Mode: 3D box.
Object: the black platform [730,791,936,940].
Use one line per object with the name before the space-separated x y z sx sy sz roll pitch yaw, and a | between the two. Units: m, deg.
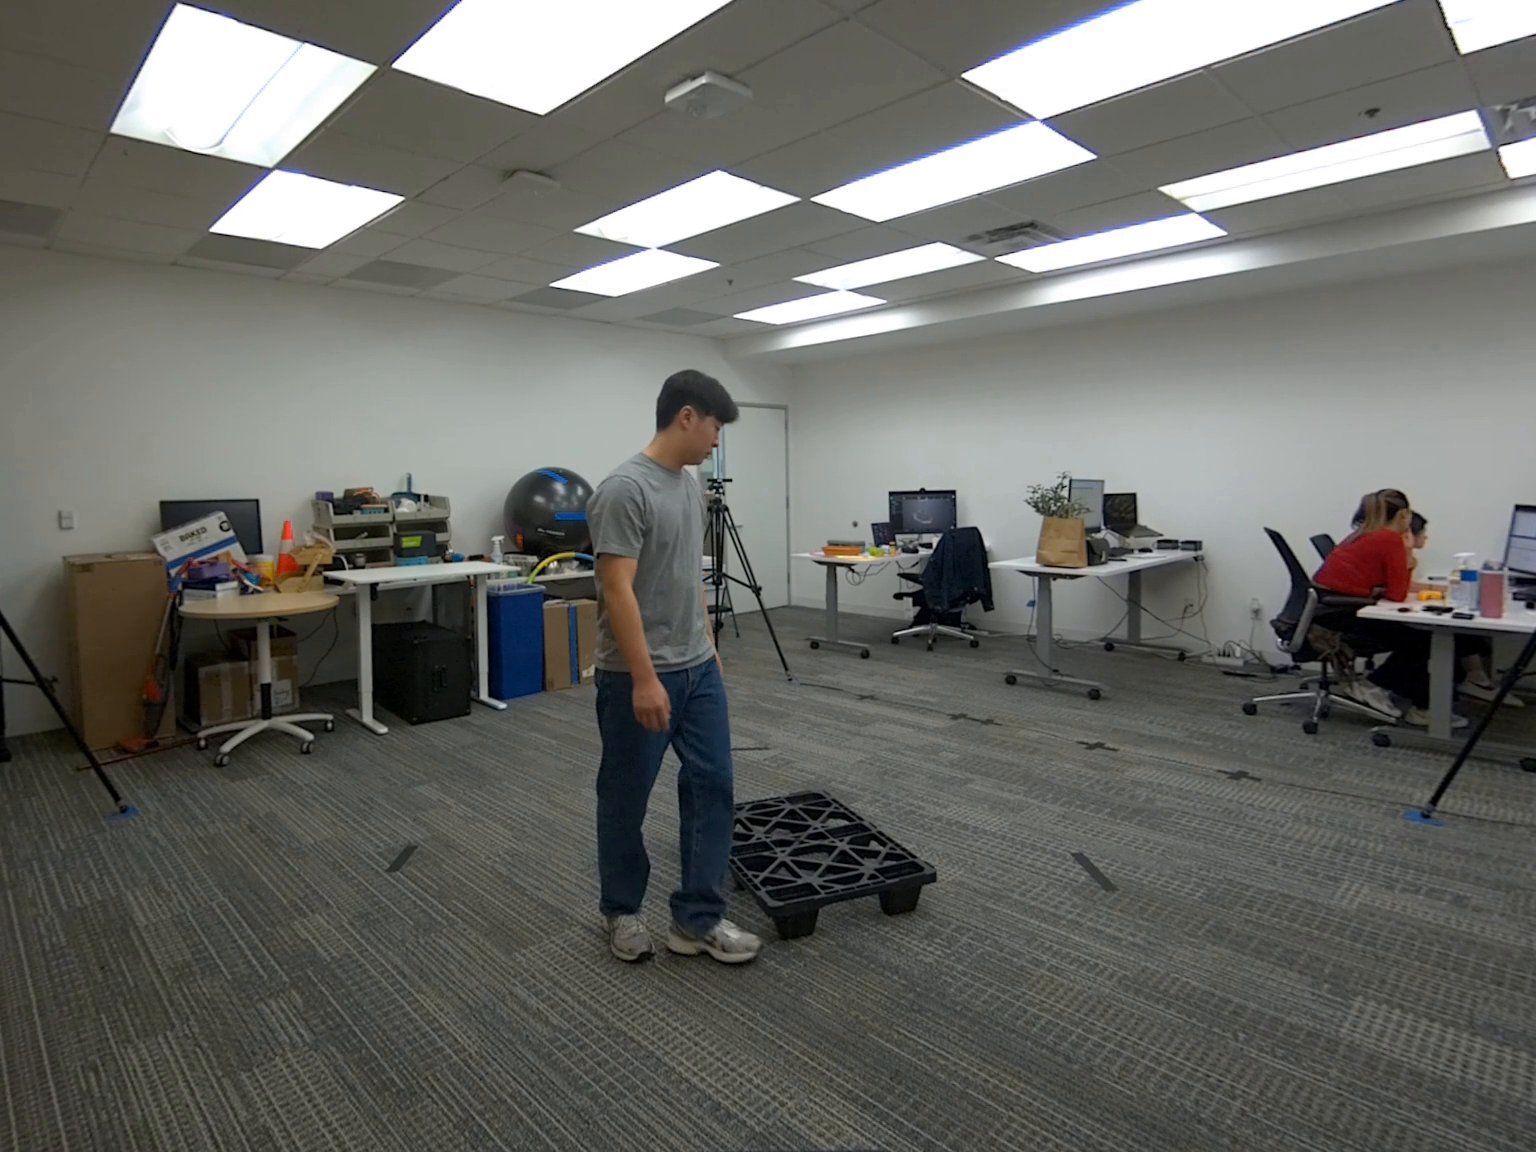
black platform | 0.115 0.985 2.998 0.594 0.142 0.825 -5 7 -23
